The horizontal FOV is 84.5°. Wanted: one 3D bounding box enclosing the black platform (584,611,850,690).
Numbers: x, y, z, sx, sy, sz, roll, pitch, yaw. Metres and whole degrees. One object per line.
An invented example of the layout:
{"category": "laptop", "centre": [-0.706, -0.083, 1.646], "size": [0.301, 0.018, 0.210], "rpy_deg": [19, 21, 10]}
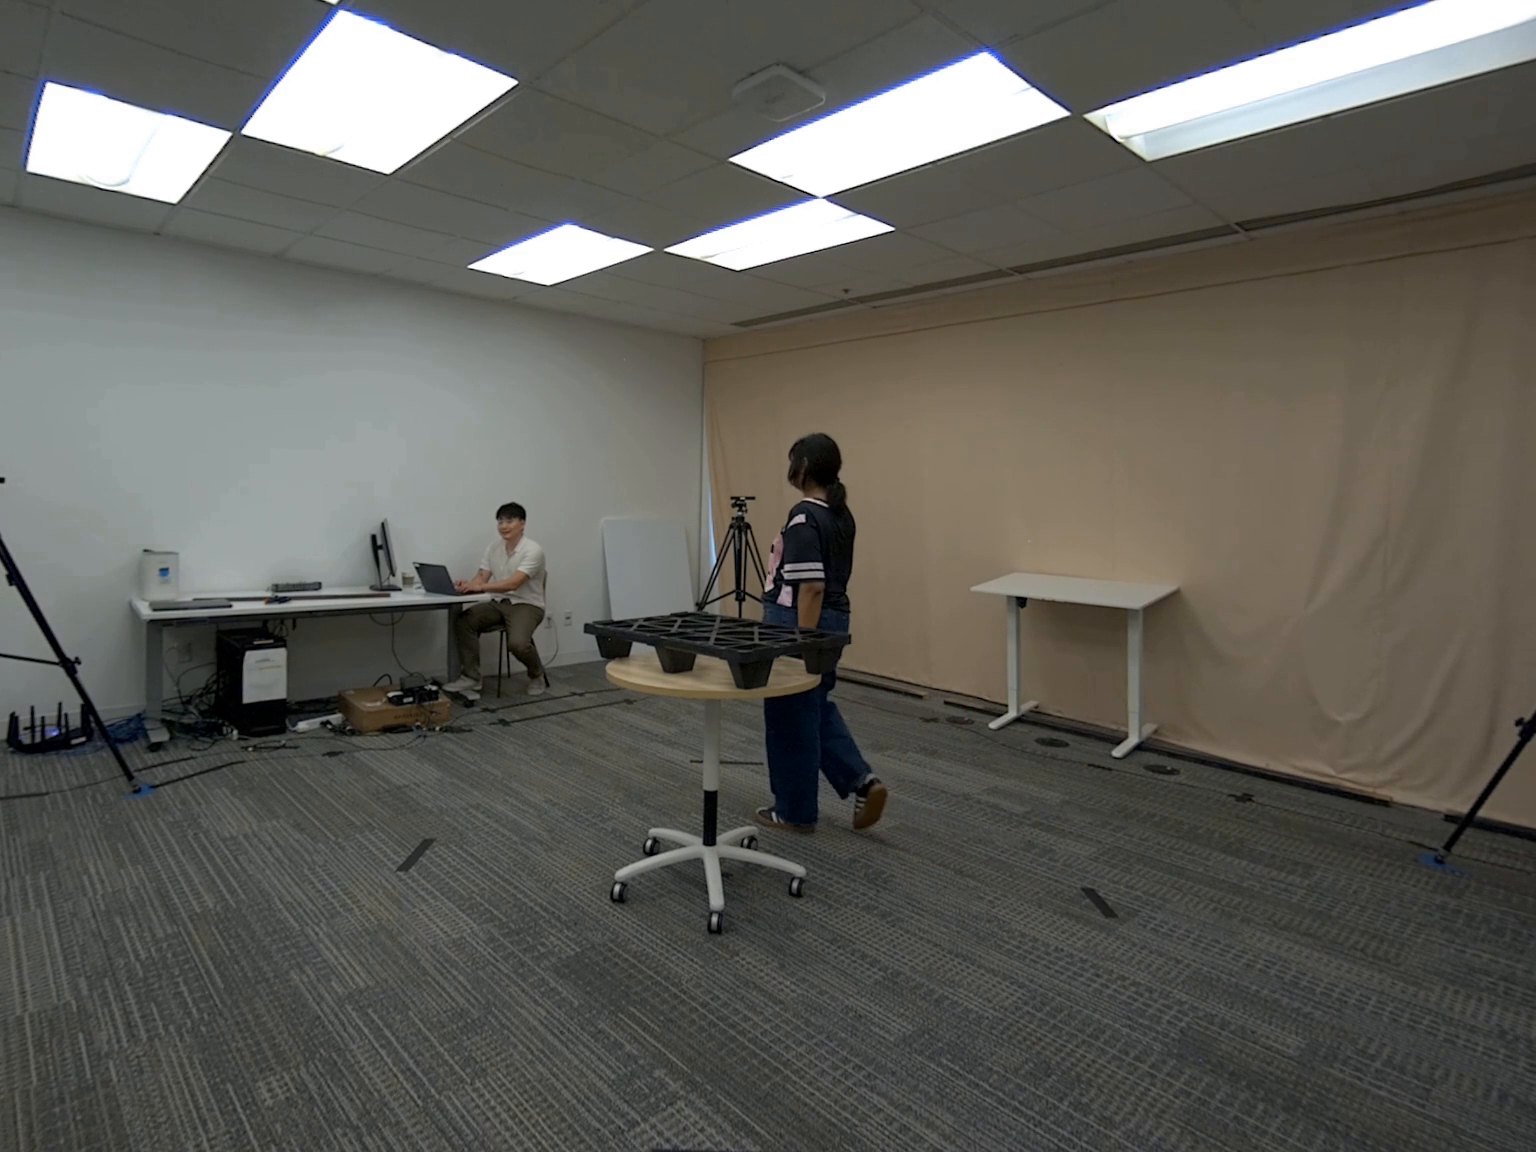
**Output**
{"category": "black platform", "centre": [-0.200, 0.262, 3.064], "size": [0.826, 0.143, 0.591], "rpy_deg": [6, 6, 42]}
